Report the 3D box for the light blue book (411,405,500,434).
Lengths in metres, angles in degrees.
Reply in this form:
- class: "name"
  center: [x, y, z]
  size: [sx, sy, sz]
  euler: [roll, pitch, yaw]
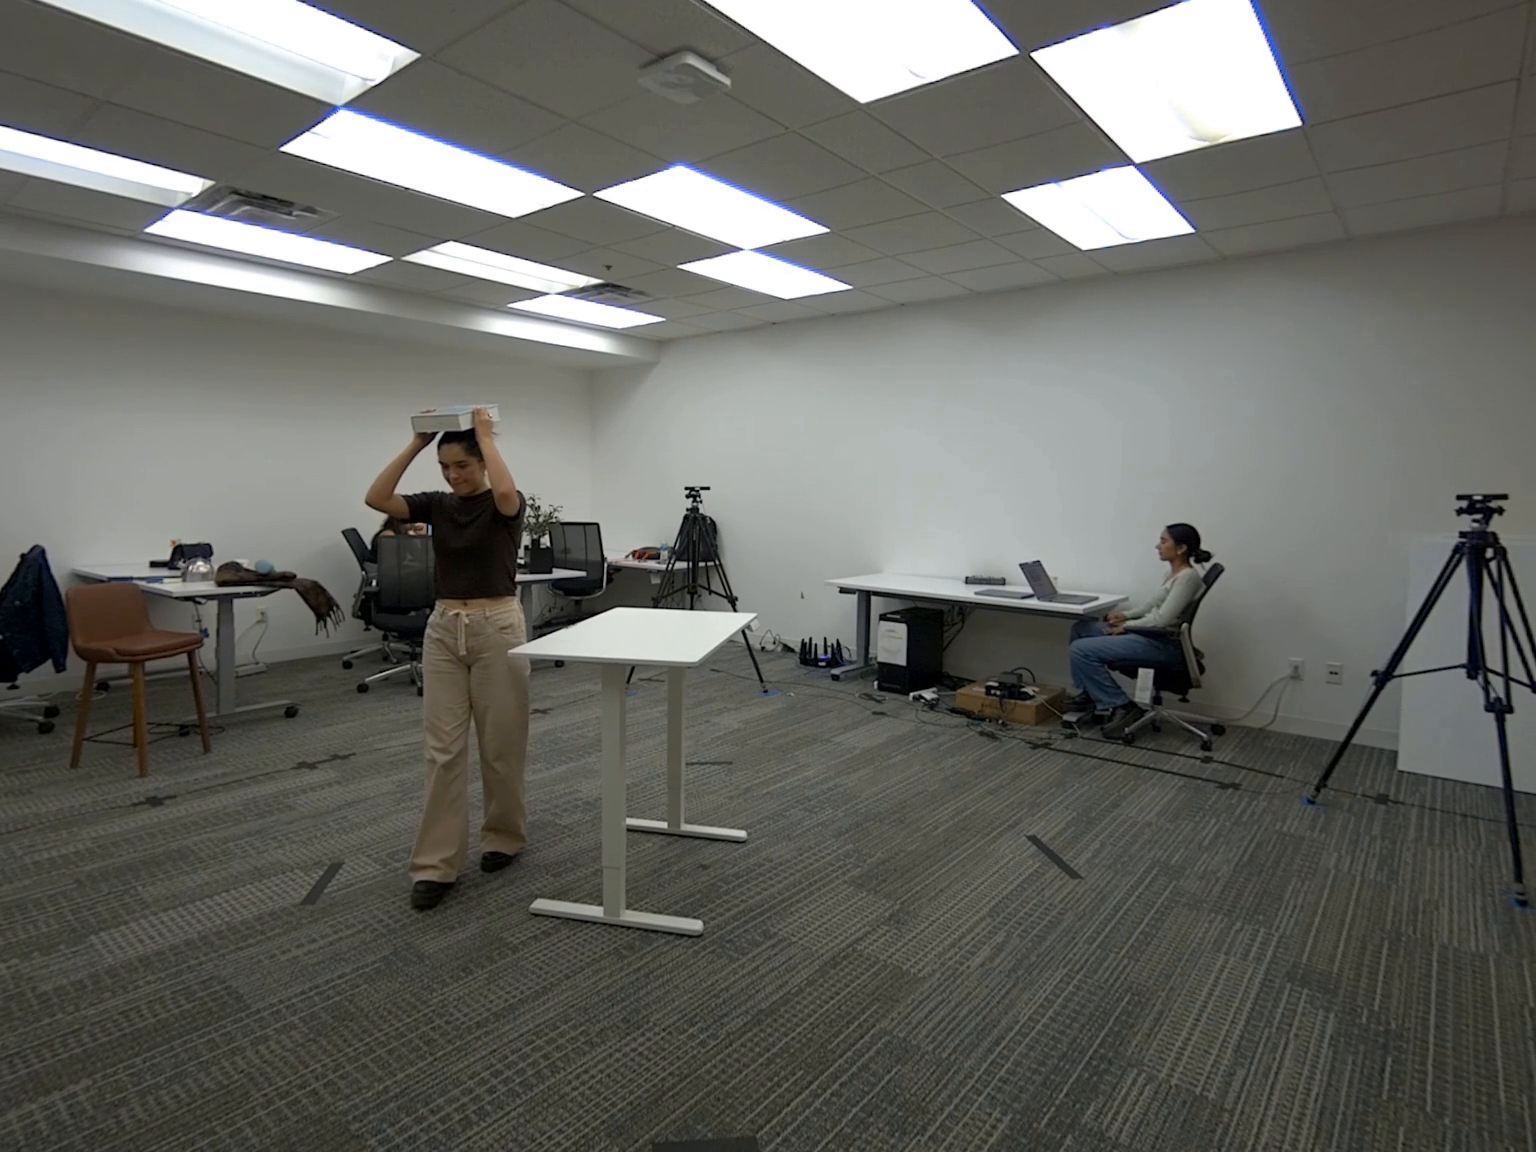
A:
- class: "light blue book"
  center: [-1.087, -0.552, 2.949]
  size: [0.194, 0.058, 0.261]
  euler: [1, 18, 13]
